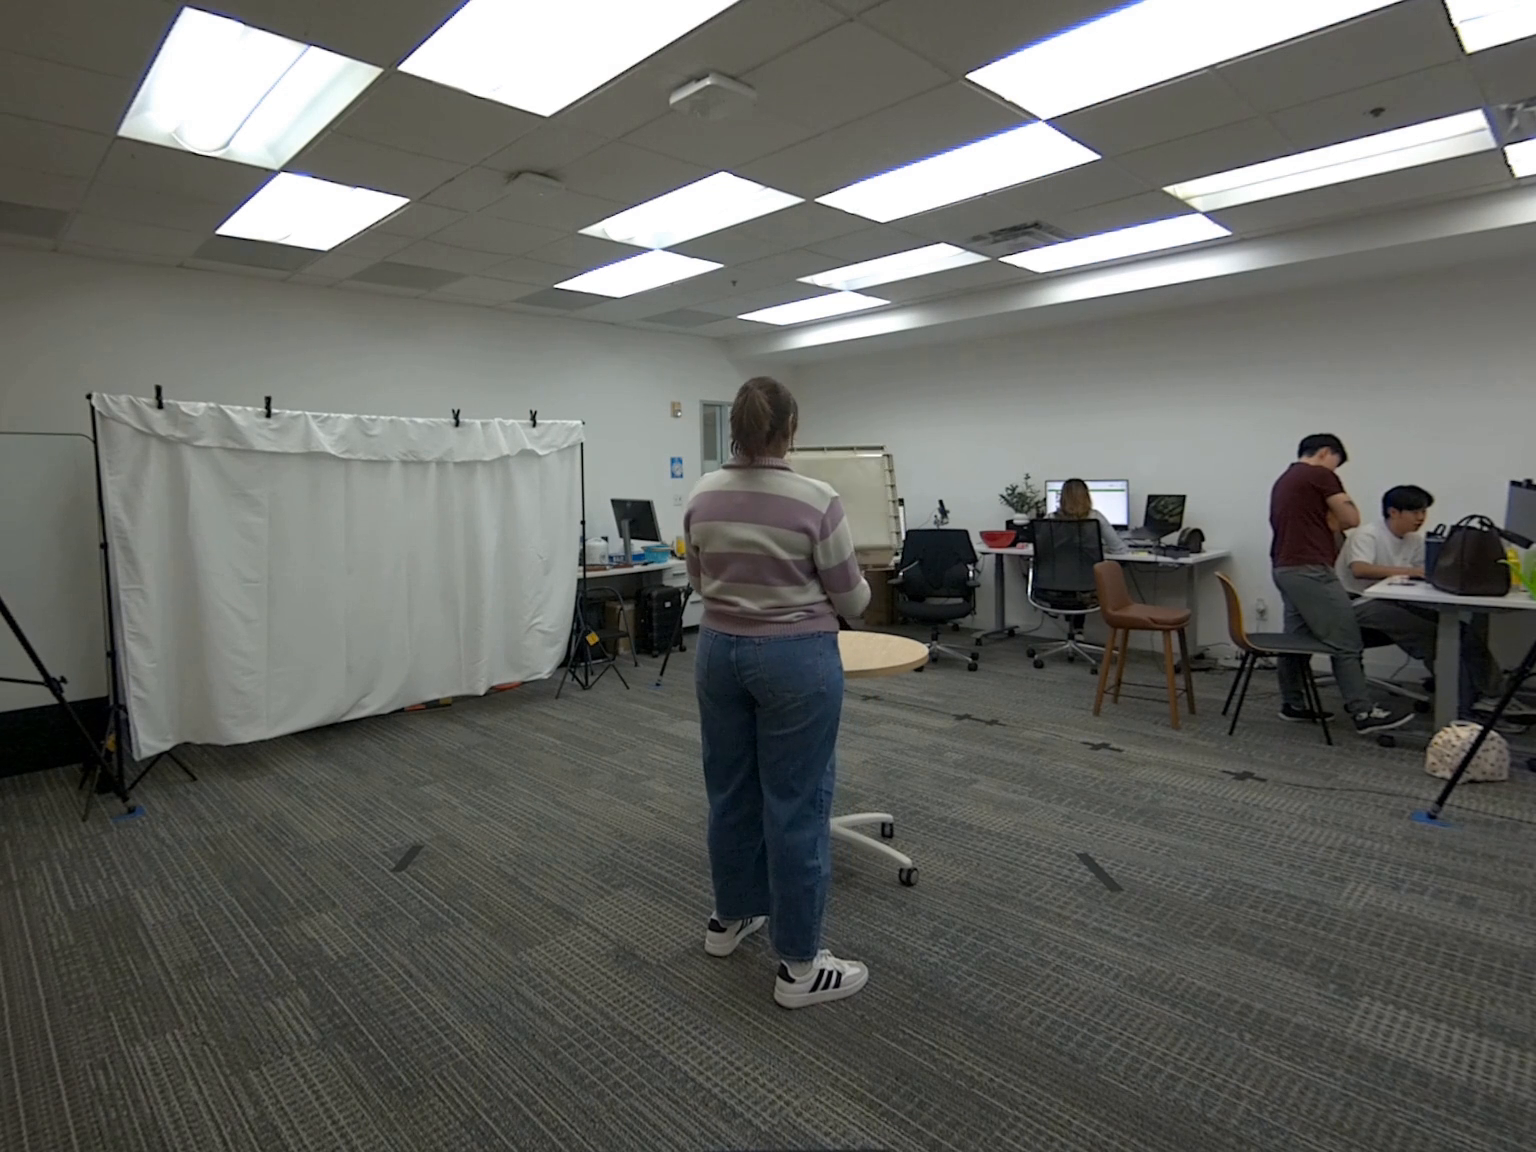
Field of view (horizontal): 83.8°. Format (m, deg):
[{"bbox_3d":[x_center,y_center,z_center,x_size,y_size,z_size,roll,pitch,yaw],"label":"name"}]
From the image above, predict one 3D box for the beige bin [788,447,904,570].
[{"bbox_3d":[0.196,-0.217,2.728,0.422,0.384,0.186,-2,-18,-1],"label":"beige bin"}]
